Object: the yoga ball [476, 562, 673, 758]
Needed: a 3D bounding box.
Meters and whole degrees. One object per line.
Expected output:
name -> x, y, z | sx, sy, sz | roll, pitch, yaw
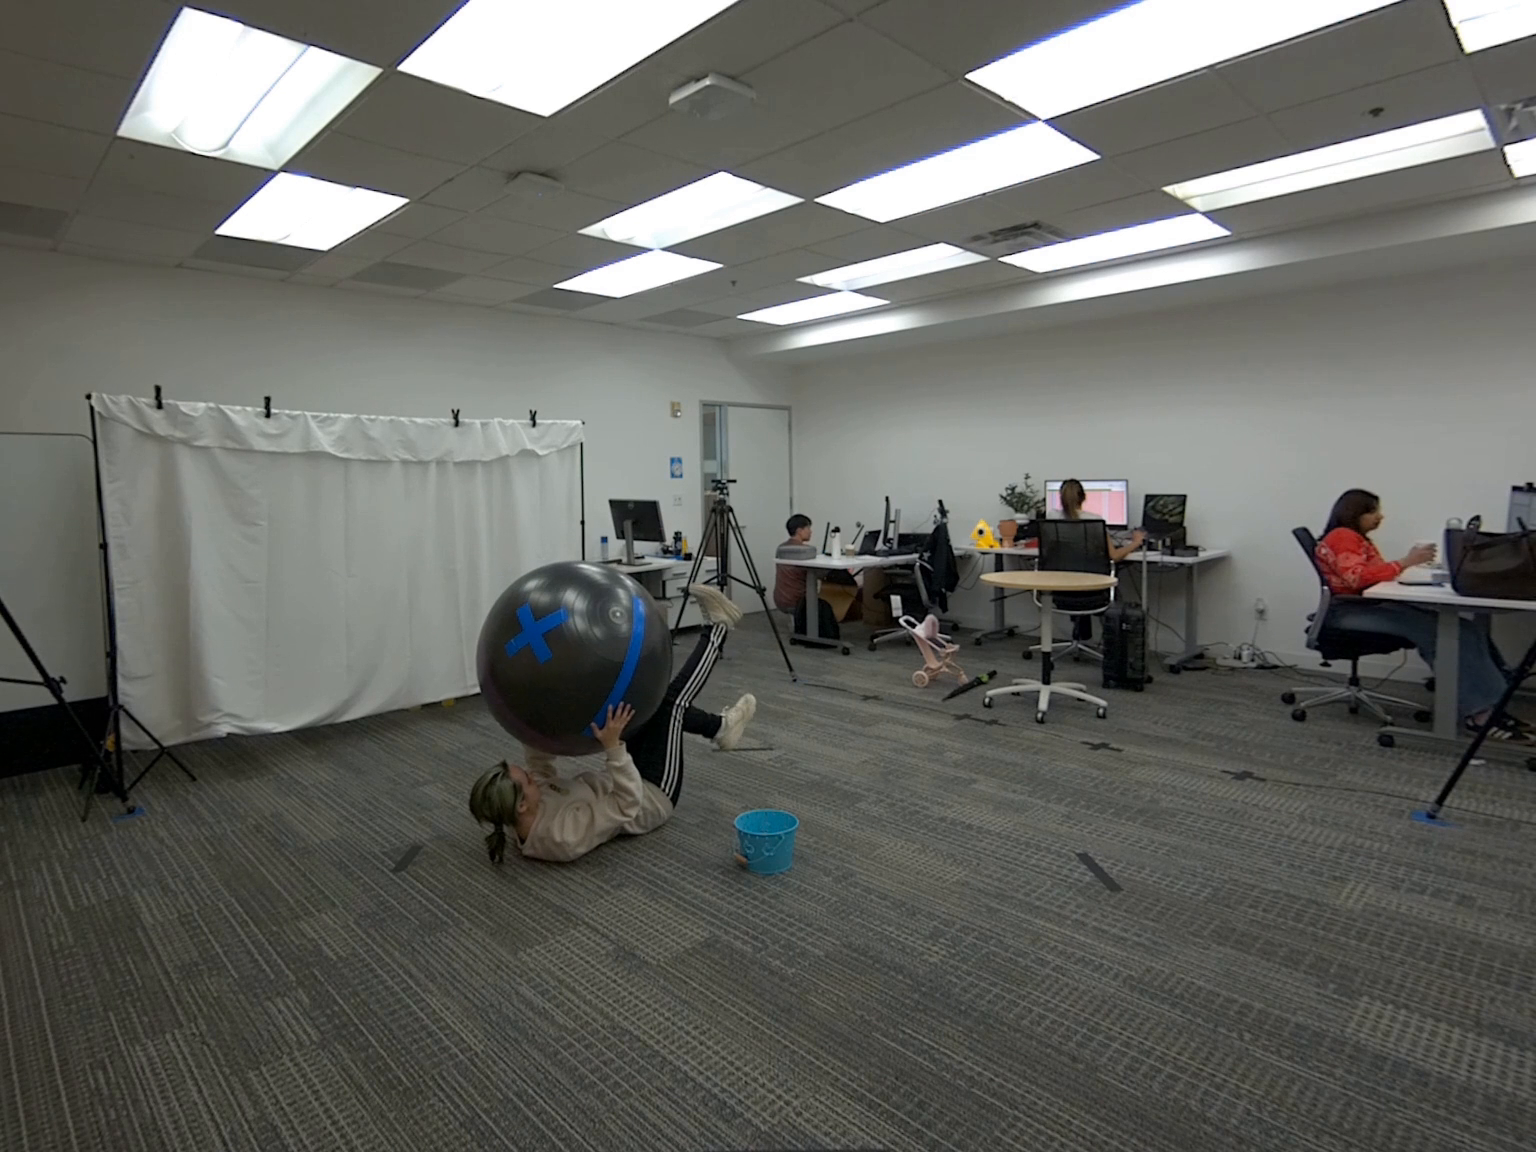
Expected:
yoga ball -> -0.754, 0.317, 3.351 | 0.757, 0.755, 0.762 | -1, 5, -2
